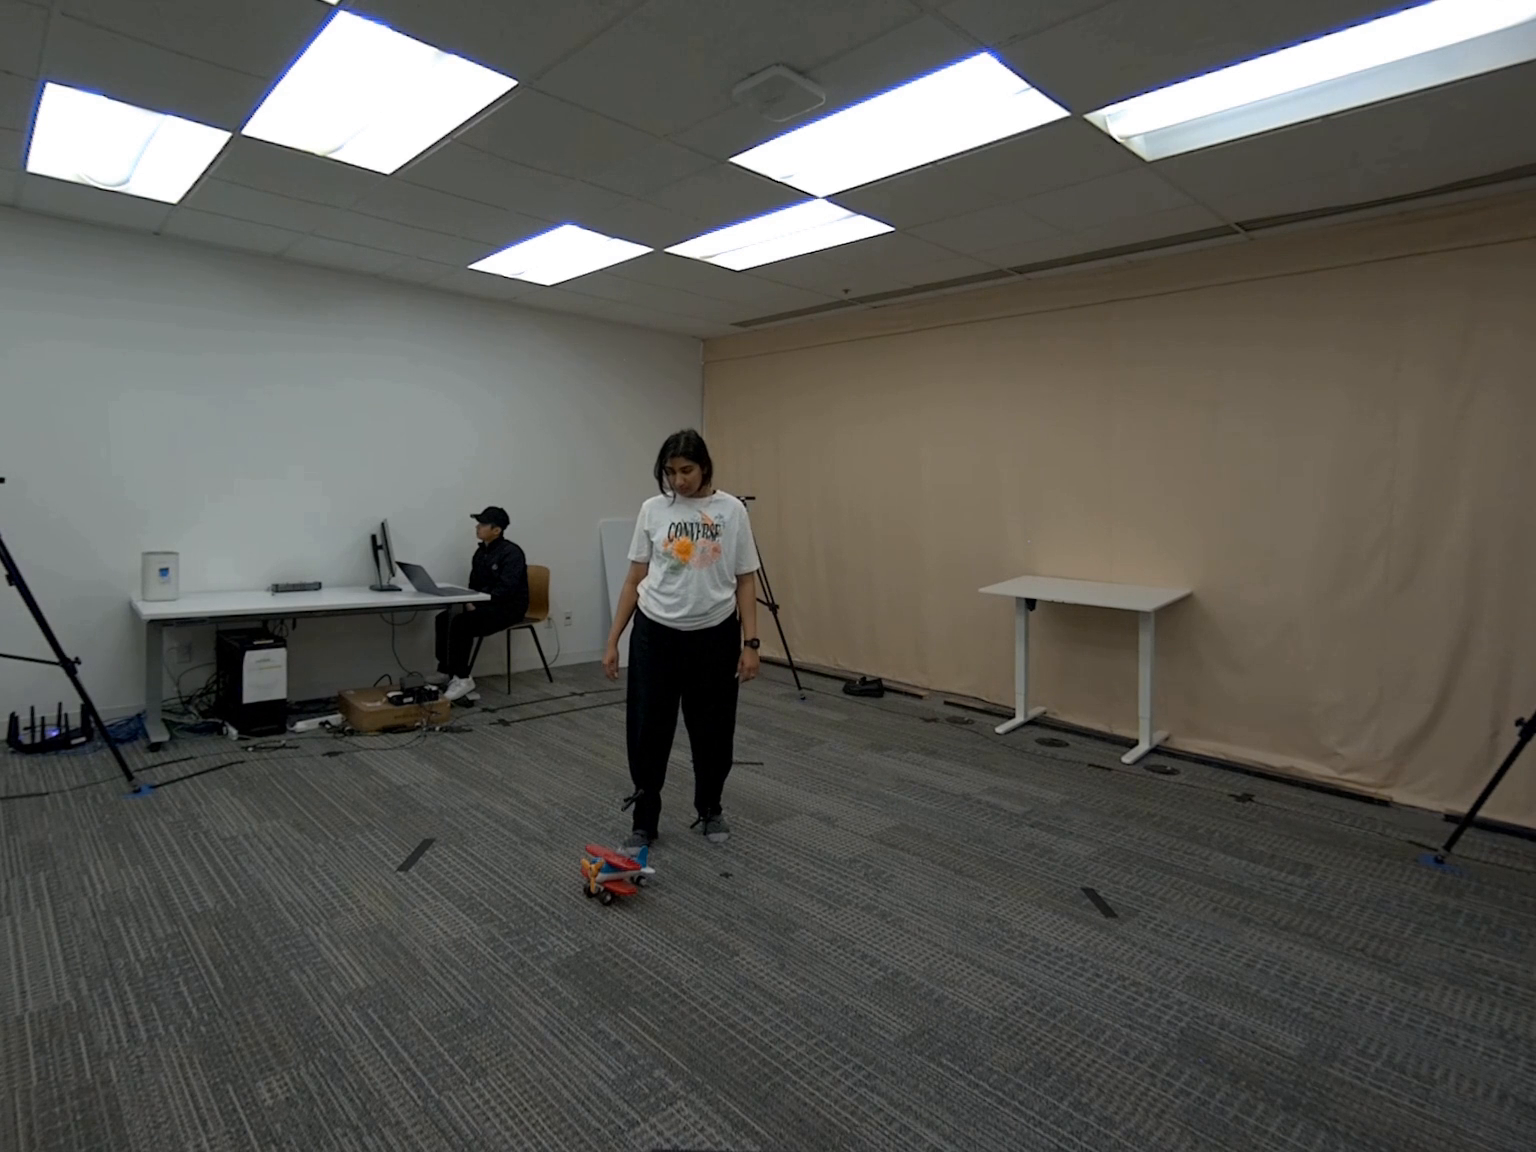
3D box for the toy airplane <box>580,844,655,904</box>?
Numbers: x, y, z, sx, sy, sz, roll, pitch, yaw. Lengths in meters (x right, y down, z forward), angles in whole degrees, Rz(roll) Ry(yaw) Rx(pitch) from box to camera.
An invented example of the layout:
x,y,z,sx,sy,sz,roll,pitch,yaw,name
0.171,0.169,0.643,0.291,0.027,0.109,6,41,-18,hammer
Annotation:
x,y,z,sx,sy,sz,roll,pitch,yaw,name
-0.549,1.034,2.953,0.254,0.156,0.257,2,6,13,toy airplane
